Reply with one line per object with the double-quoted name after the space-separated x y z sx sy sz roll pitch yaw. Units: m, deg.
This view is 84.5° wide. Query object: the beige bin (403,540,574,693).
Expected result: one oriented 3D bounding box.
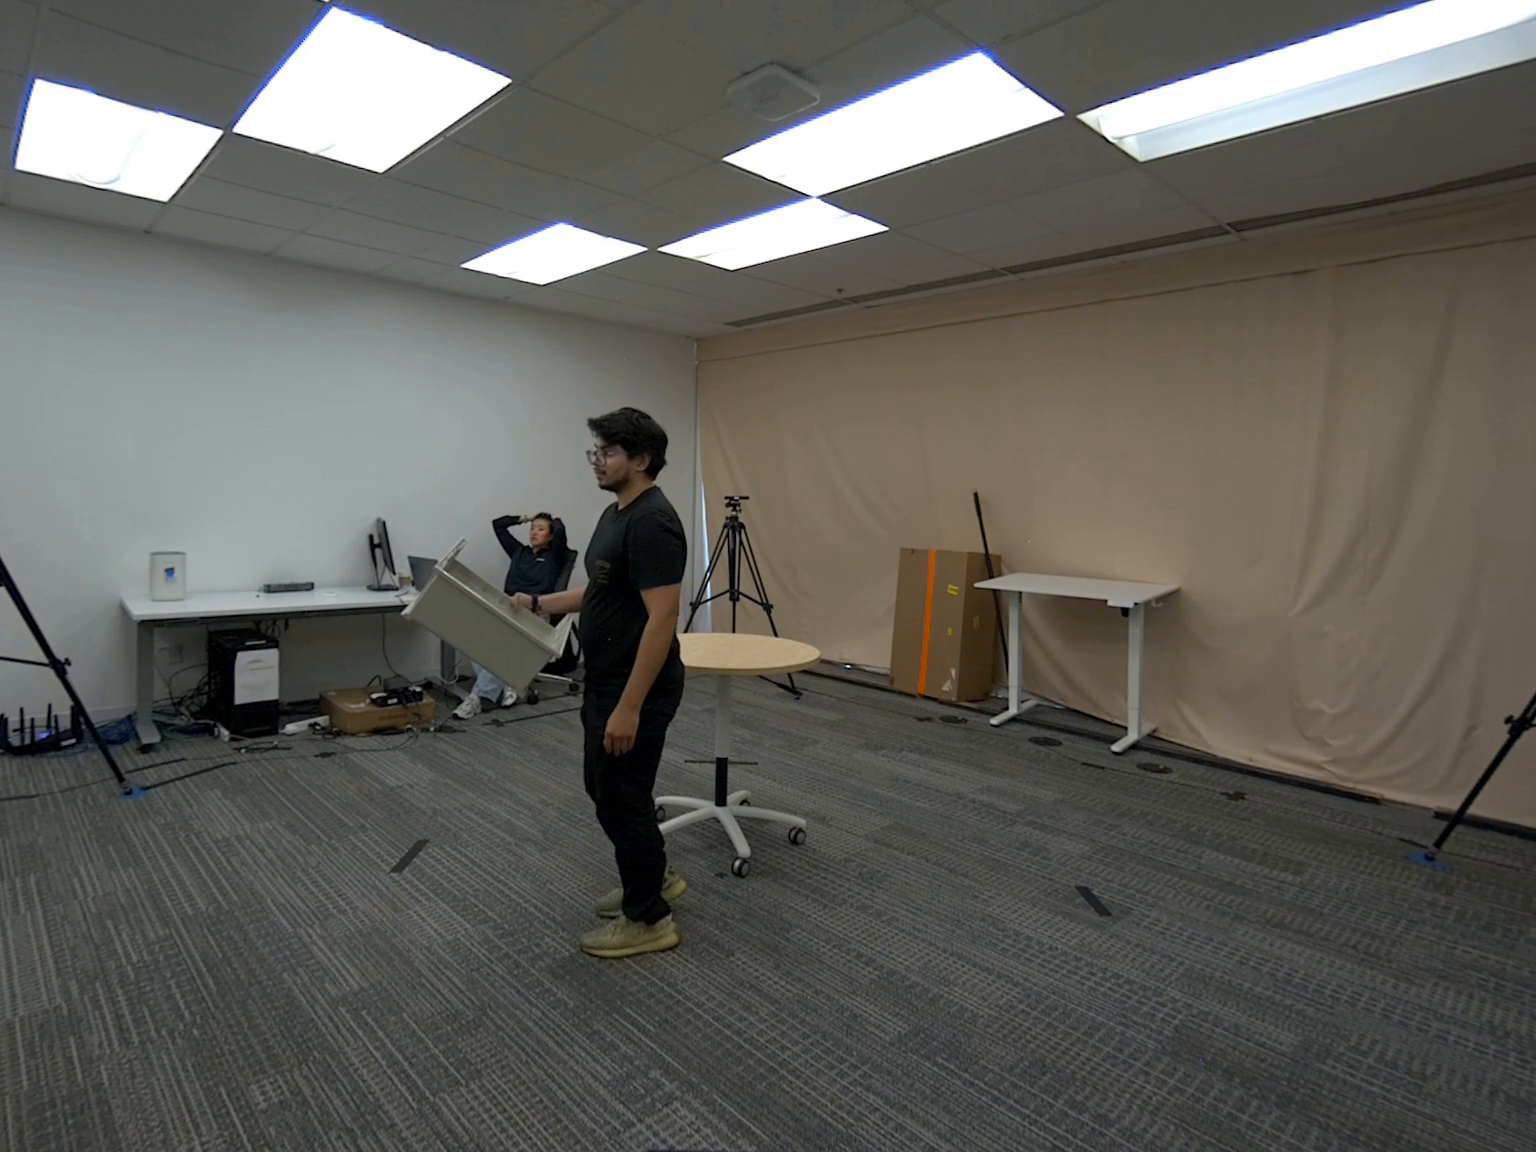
-0.818 0.111 2.517 0.417 0.189 0.383 38 10 -13 "beige bin"
